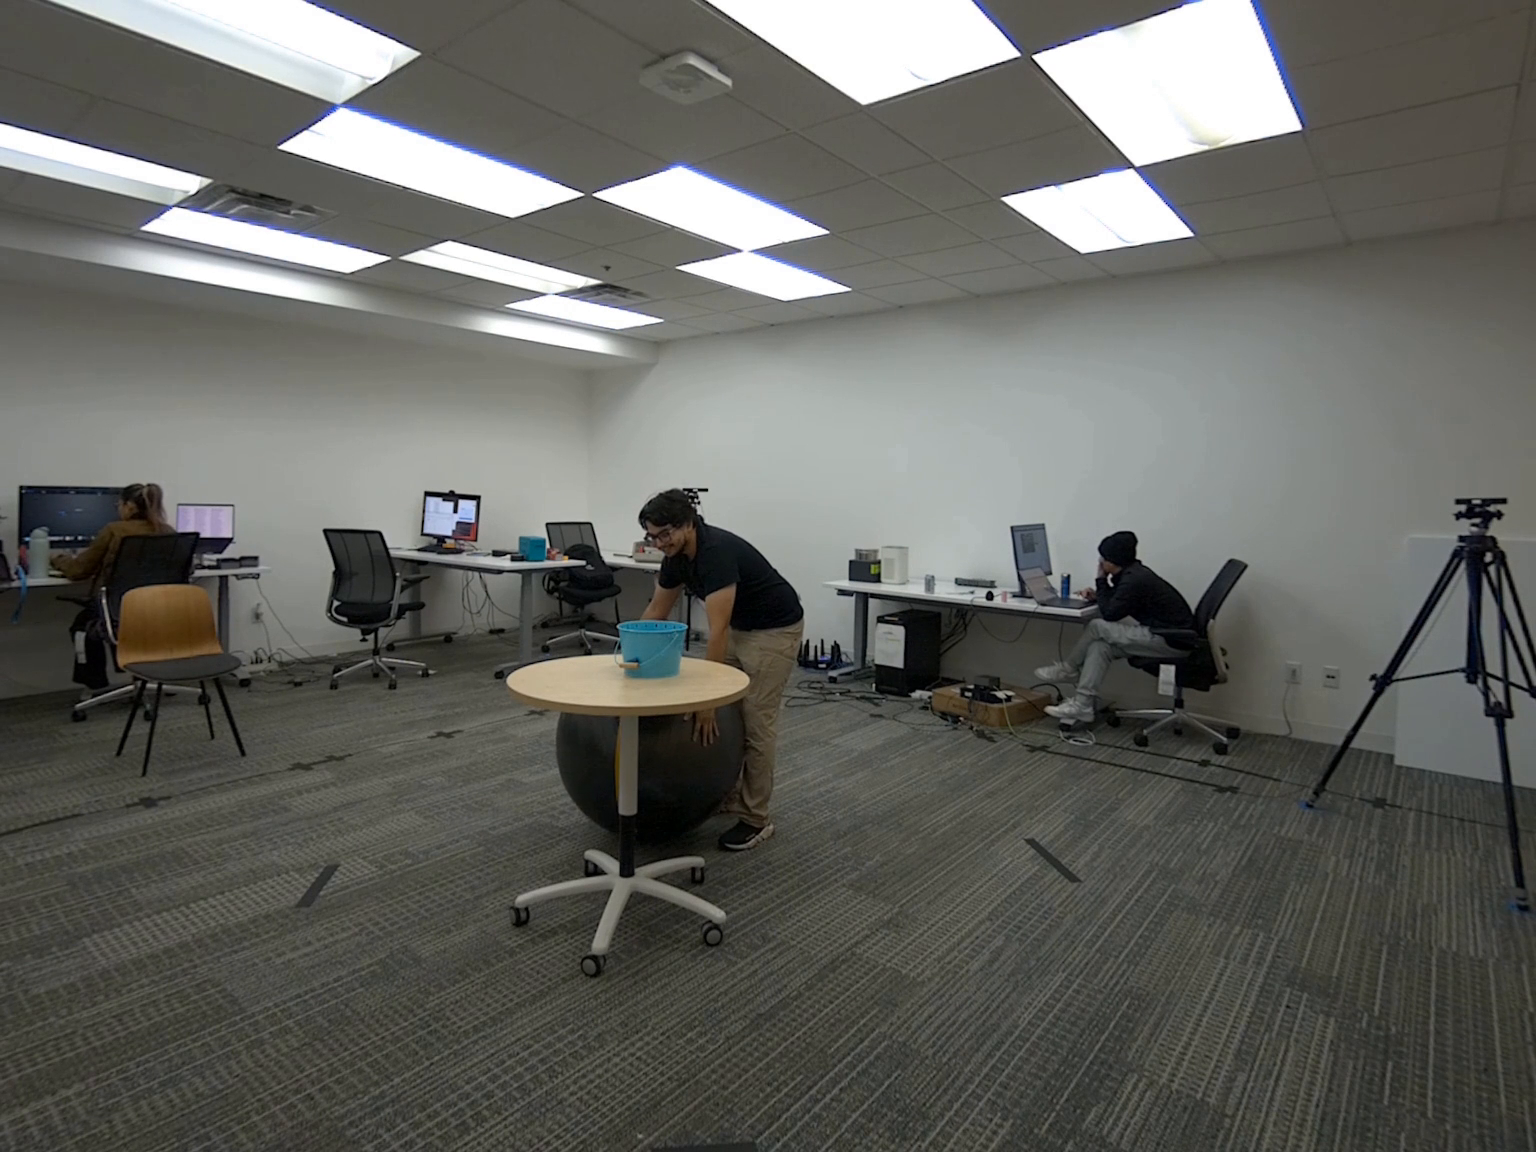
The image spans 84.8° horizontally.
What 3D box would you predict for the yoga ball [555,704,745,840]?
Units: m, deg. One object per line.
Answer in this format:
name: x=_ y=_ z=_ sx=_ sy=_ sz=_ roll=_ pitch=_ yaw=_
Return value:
yoga ball: x=-0.489 y=0.660 z=3.416 sx=0.757 sy=0.755 sz=0.762 roll=1 pitch=4 yaw=-2
